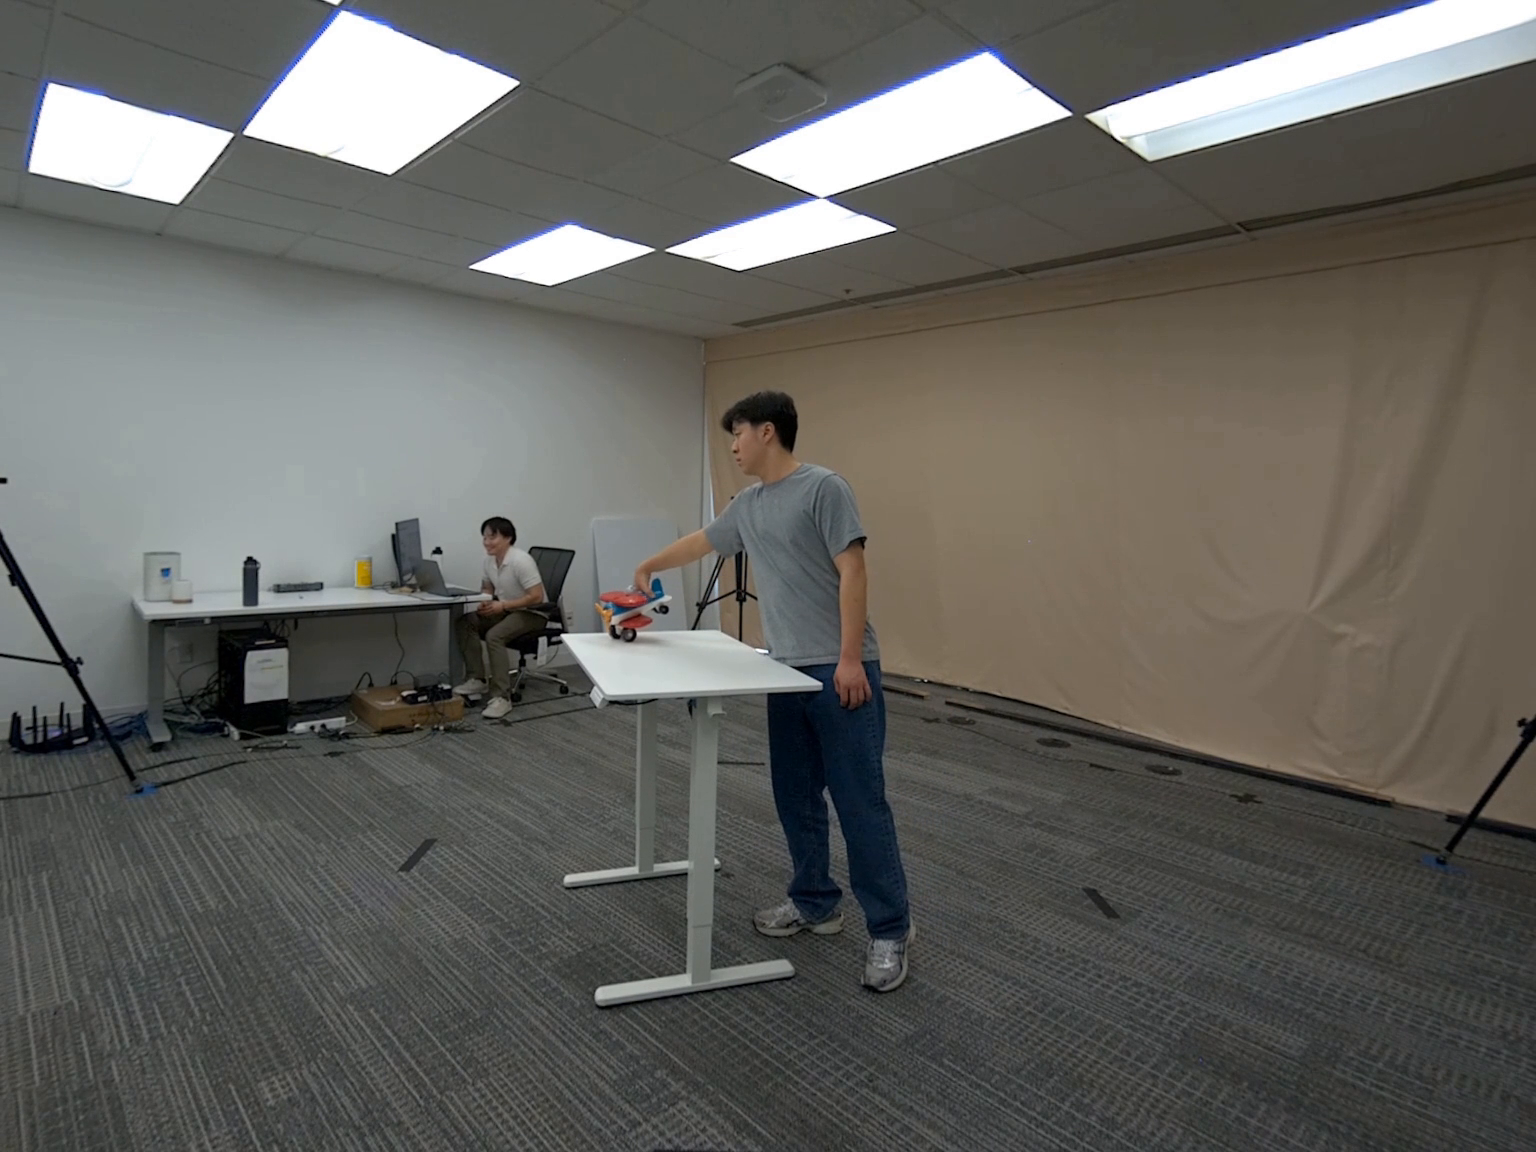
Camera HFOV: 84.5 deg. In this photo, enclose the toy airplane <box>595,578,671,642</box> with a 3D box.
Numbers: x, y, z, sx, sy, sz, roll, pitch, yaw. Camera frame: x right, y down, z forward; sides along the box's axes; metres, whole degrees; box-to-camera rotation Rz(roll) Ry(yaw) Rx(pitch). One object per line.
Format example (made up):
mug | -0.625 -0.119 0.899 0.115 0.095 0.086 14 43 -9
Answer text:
toy airplane | -0.488 0.117 3.008 0.255 0.153 0.260 -10 24 26
